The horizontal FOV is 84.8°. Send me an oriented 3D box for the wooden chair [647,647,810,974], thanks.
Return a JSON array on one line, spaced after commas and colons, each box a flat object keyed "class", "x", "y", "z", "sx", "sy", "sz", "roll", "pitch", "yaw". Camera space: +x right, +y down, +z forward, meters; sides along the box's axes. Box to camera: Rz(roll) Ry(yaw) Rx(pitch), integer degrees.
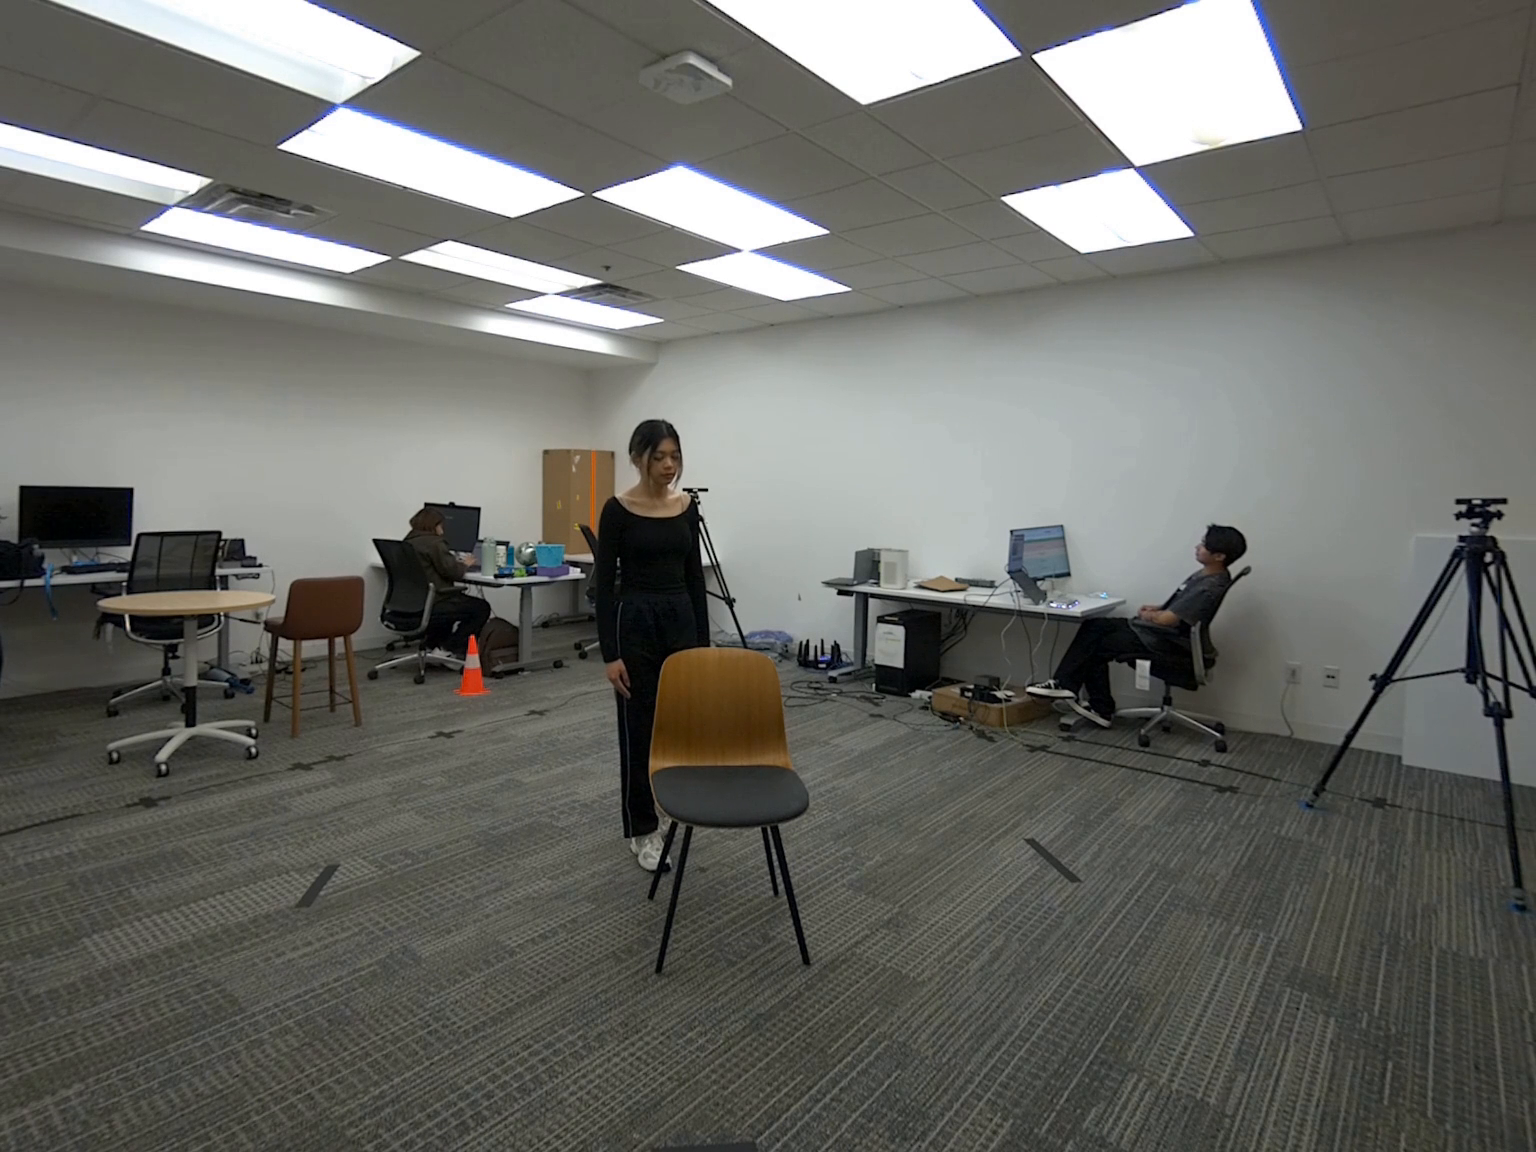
[{"class": "wooden chair", "x": -0.133, "y": 0.690, "z": 2.647, "sx": 0.473, "sy": 0.878, "sz": 0.528, "roll": 1, "pitch": -1, "yaw": -10}]
